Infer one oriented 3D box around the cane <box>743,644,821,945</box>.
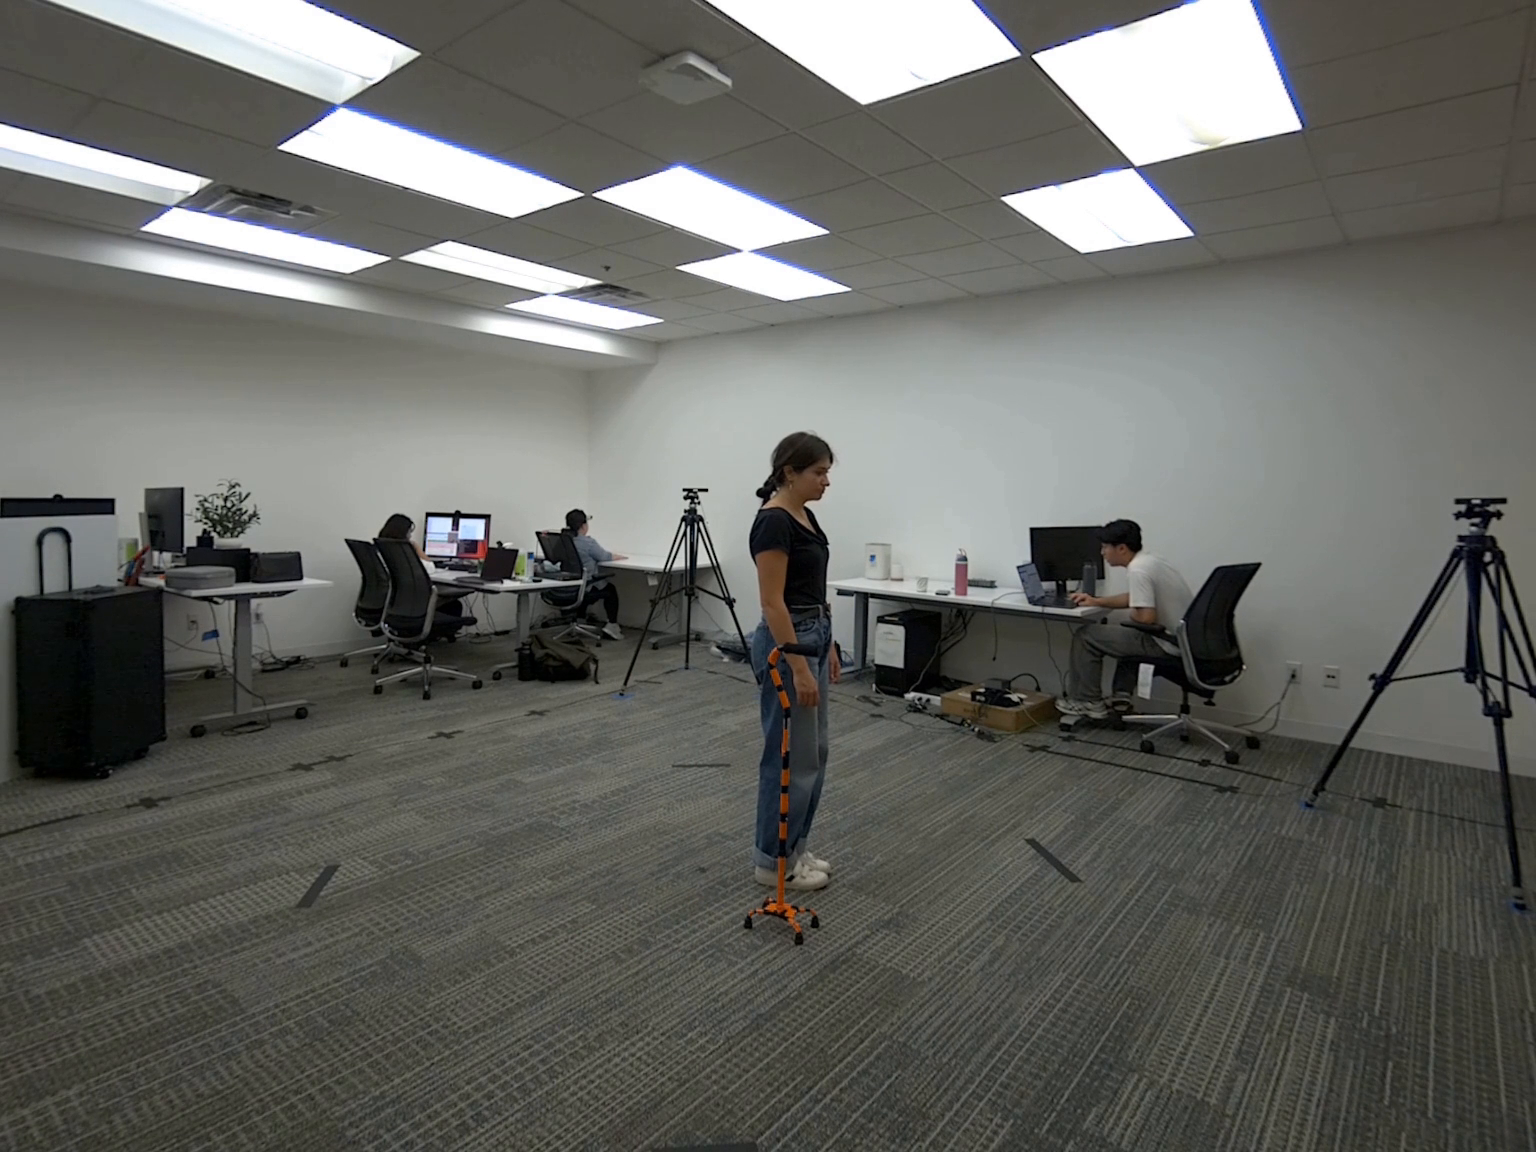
[{"bbox_3d":[0.061,0.658,2.688,0.212,0.906,0.148,4,2,25],"label":"cane"}]
